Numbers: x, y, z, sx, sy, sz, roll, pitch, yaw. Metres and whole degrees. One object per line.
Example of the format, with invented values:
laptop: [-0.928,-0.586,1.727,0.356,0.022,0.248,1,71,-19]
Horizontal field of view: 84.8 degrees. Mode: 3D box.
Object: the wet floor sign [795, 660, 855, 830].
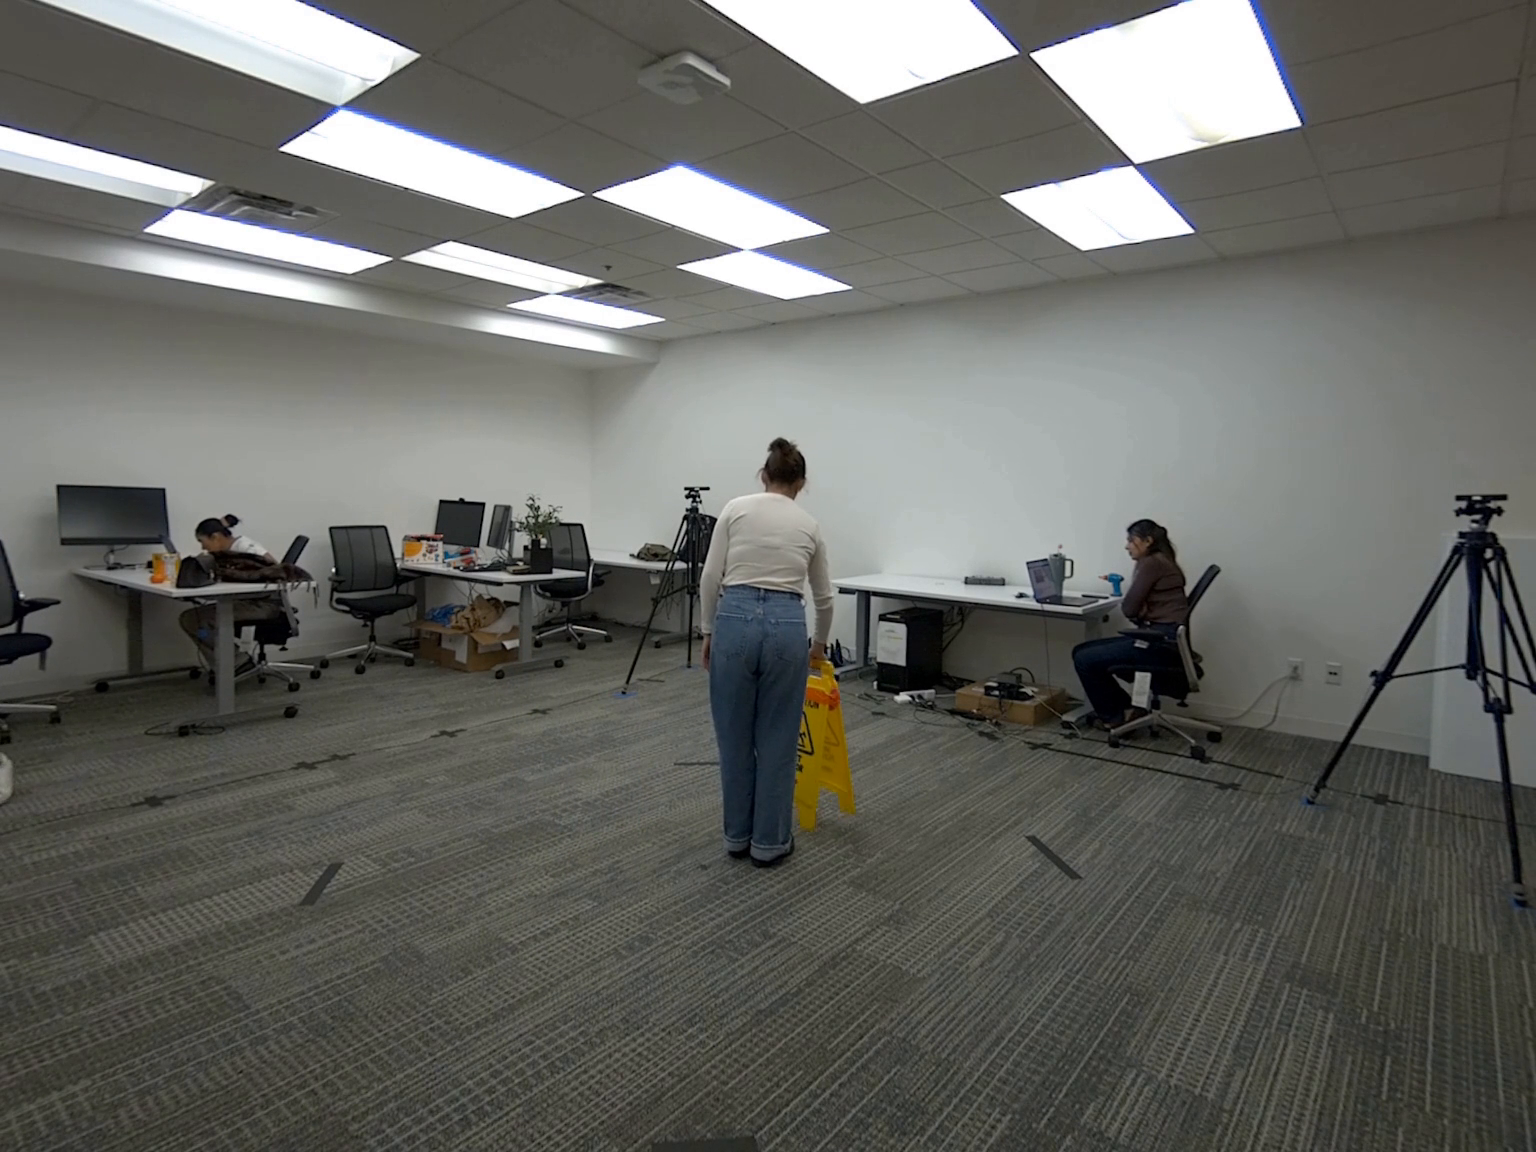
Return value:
wet floor sign: [0.175,0.638,3.521,0.280,0.644,0.292,0,5,-44]
